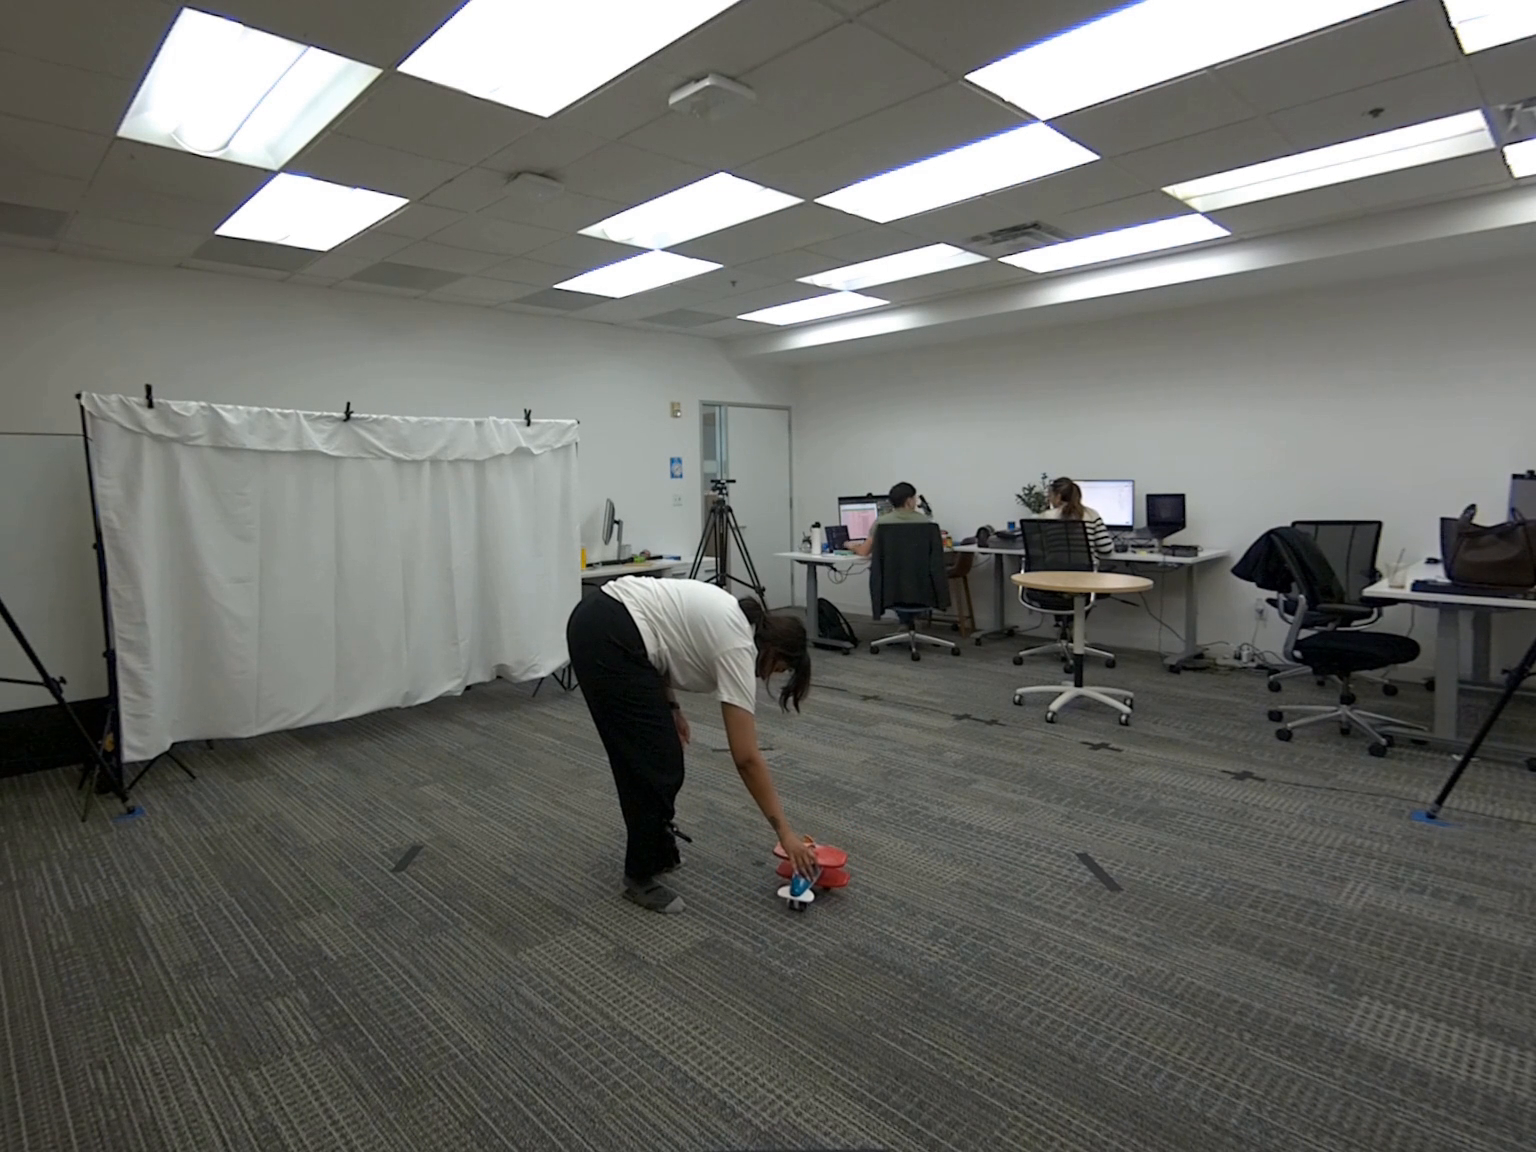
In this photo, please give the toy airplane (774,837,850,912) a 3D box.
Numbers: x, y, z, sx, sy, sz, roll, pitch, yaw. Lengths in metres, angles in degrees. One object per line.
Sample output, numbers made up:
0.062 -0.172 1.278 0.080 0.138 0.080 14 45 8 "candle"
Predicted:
0.151 0.996 2.839 0.250 0.156 0.261 -1 5 -4 "toy airplane"
